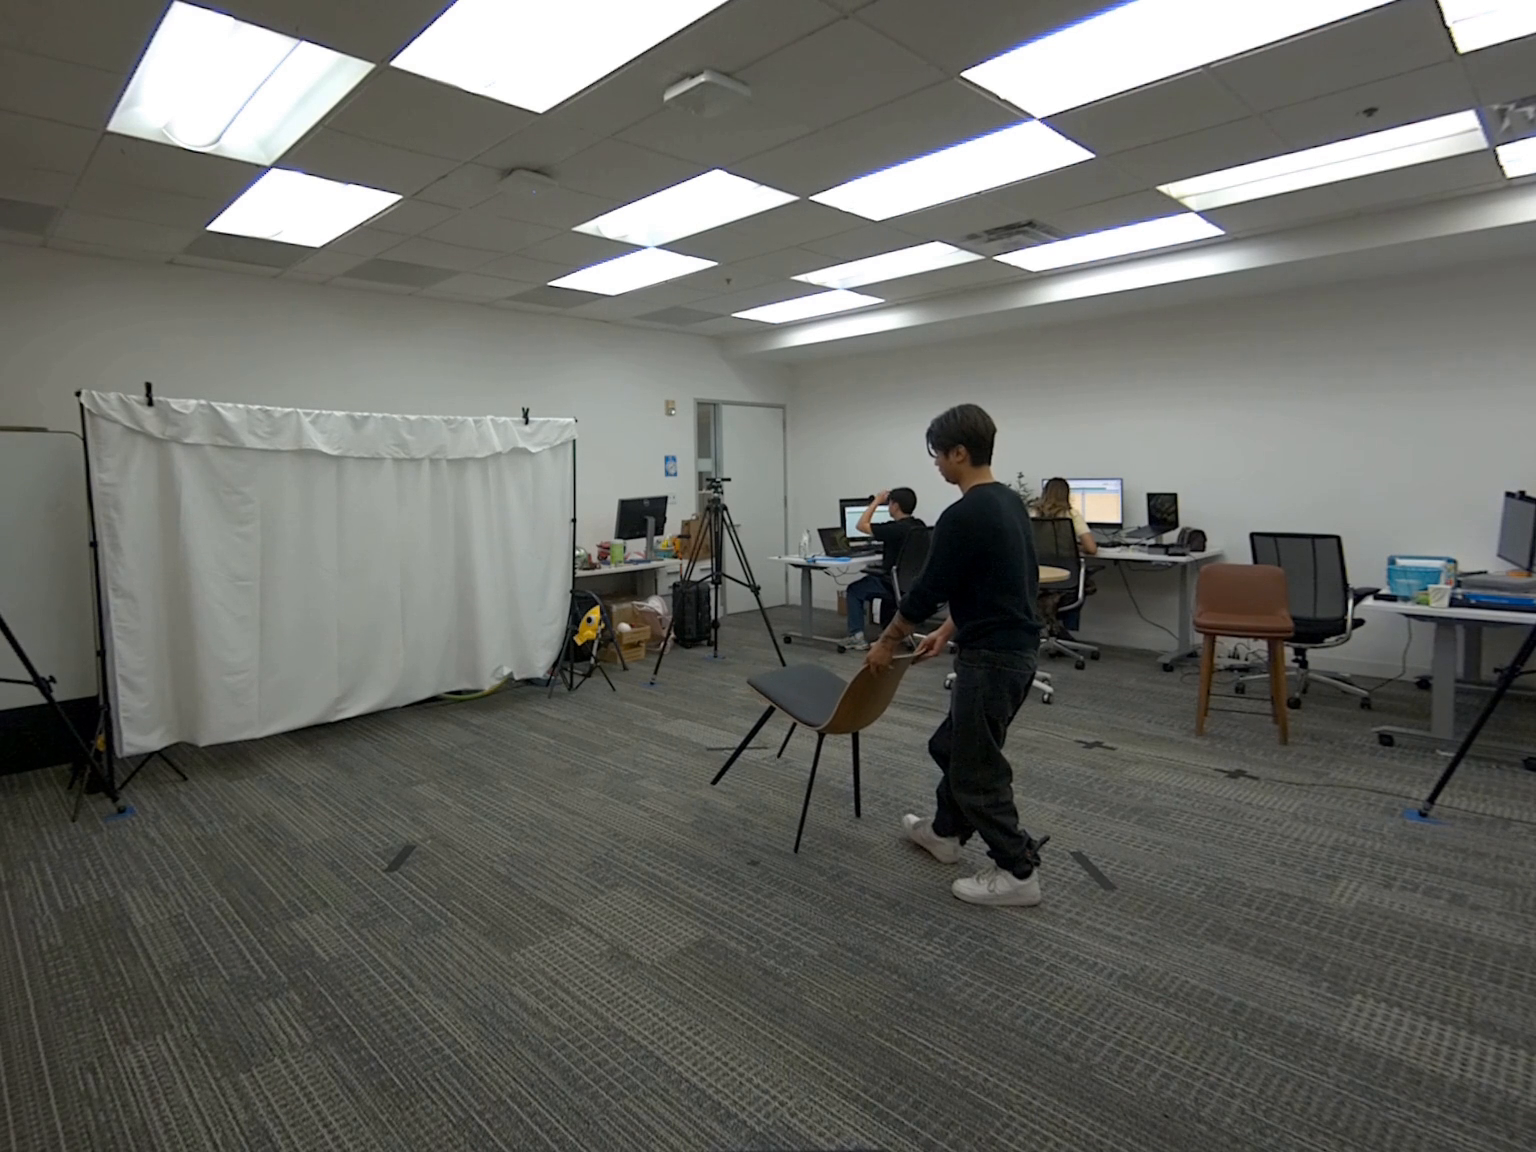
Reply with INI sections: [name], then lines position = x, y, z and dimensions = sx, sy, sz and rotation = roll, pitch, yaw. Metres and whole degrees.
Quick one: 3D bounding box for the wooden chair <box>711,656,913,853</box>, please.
[wooden chair]
position = 0.191, 0.528, 3.345
dimensions = 0.542, 0.868, 0.466
rotation = 35, 25, 33
